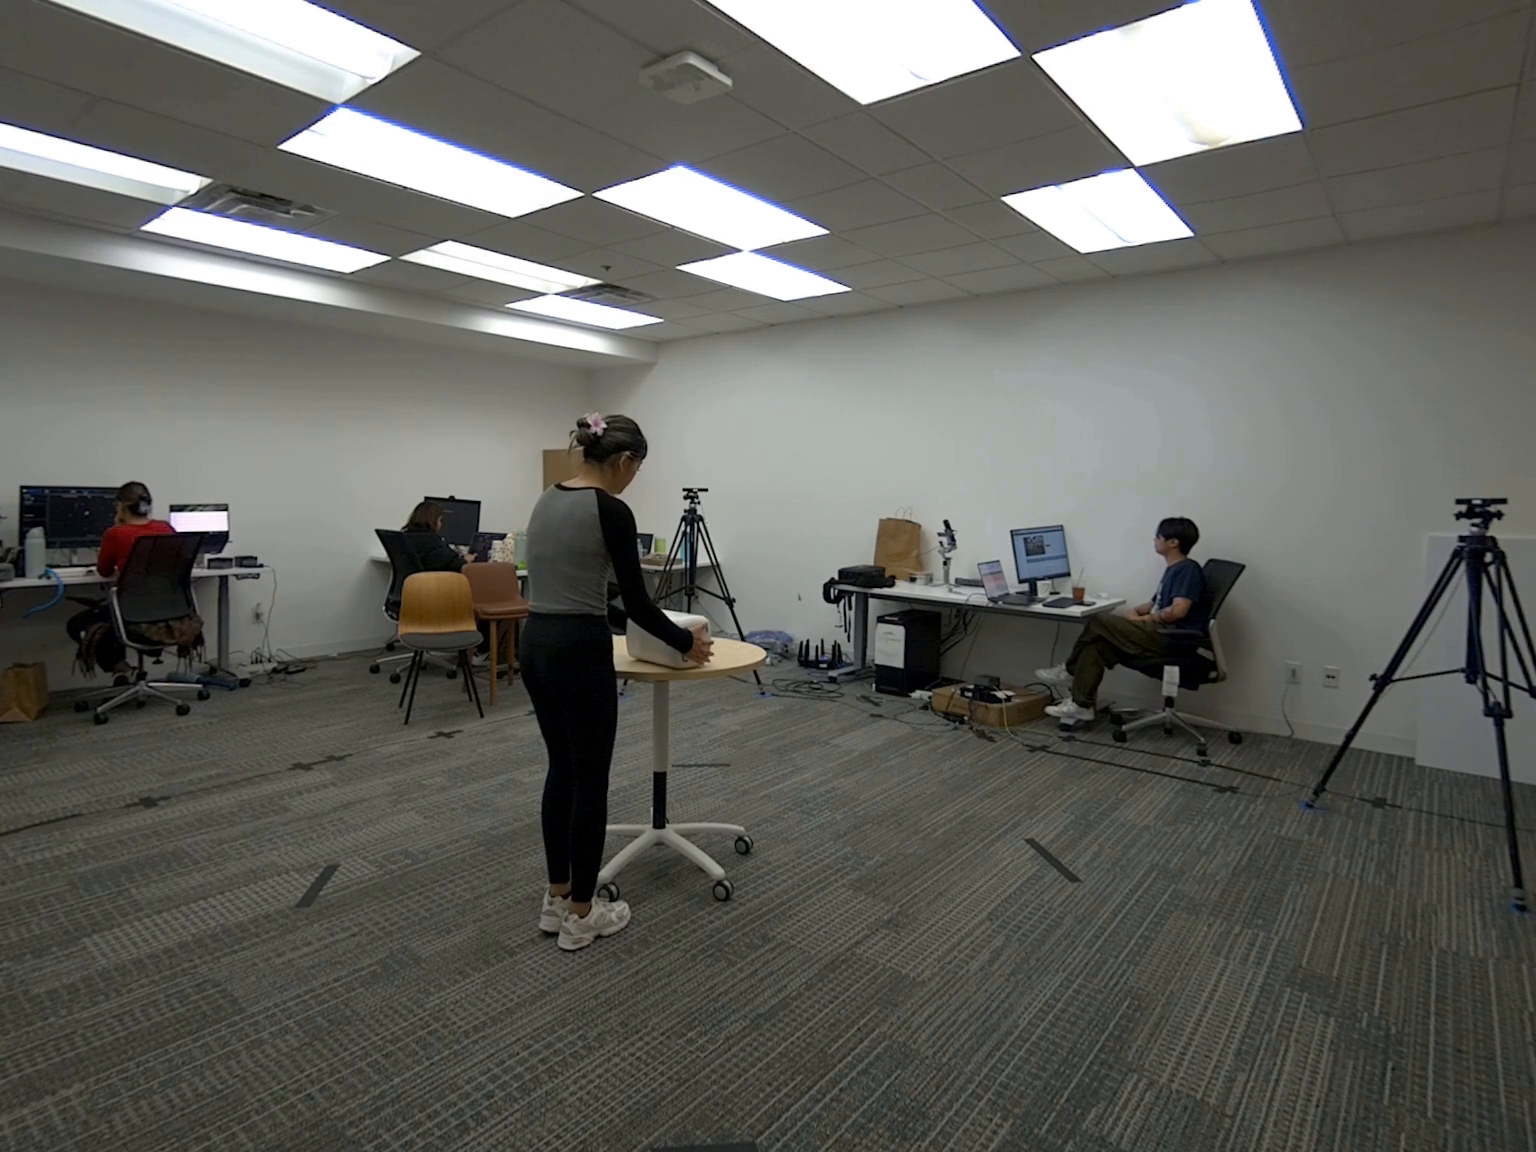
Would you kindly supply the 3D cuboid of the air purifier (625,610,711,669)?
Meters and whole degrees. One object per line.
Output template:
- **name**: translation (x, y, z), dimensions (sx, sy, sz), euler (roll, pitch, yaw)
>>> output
- **air purifier**: translation (-0.348, 0.207, 2.882), dimensions (0.274, 0.171, 0.166), euler (5, 6, 44)
